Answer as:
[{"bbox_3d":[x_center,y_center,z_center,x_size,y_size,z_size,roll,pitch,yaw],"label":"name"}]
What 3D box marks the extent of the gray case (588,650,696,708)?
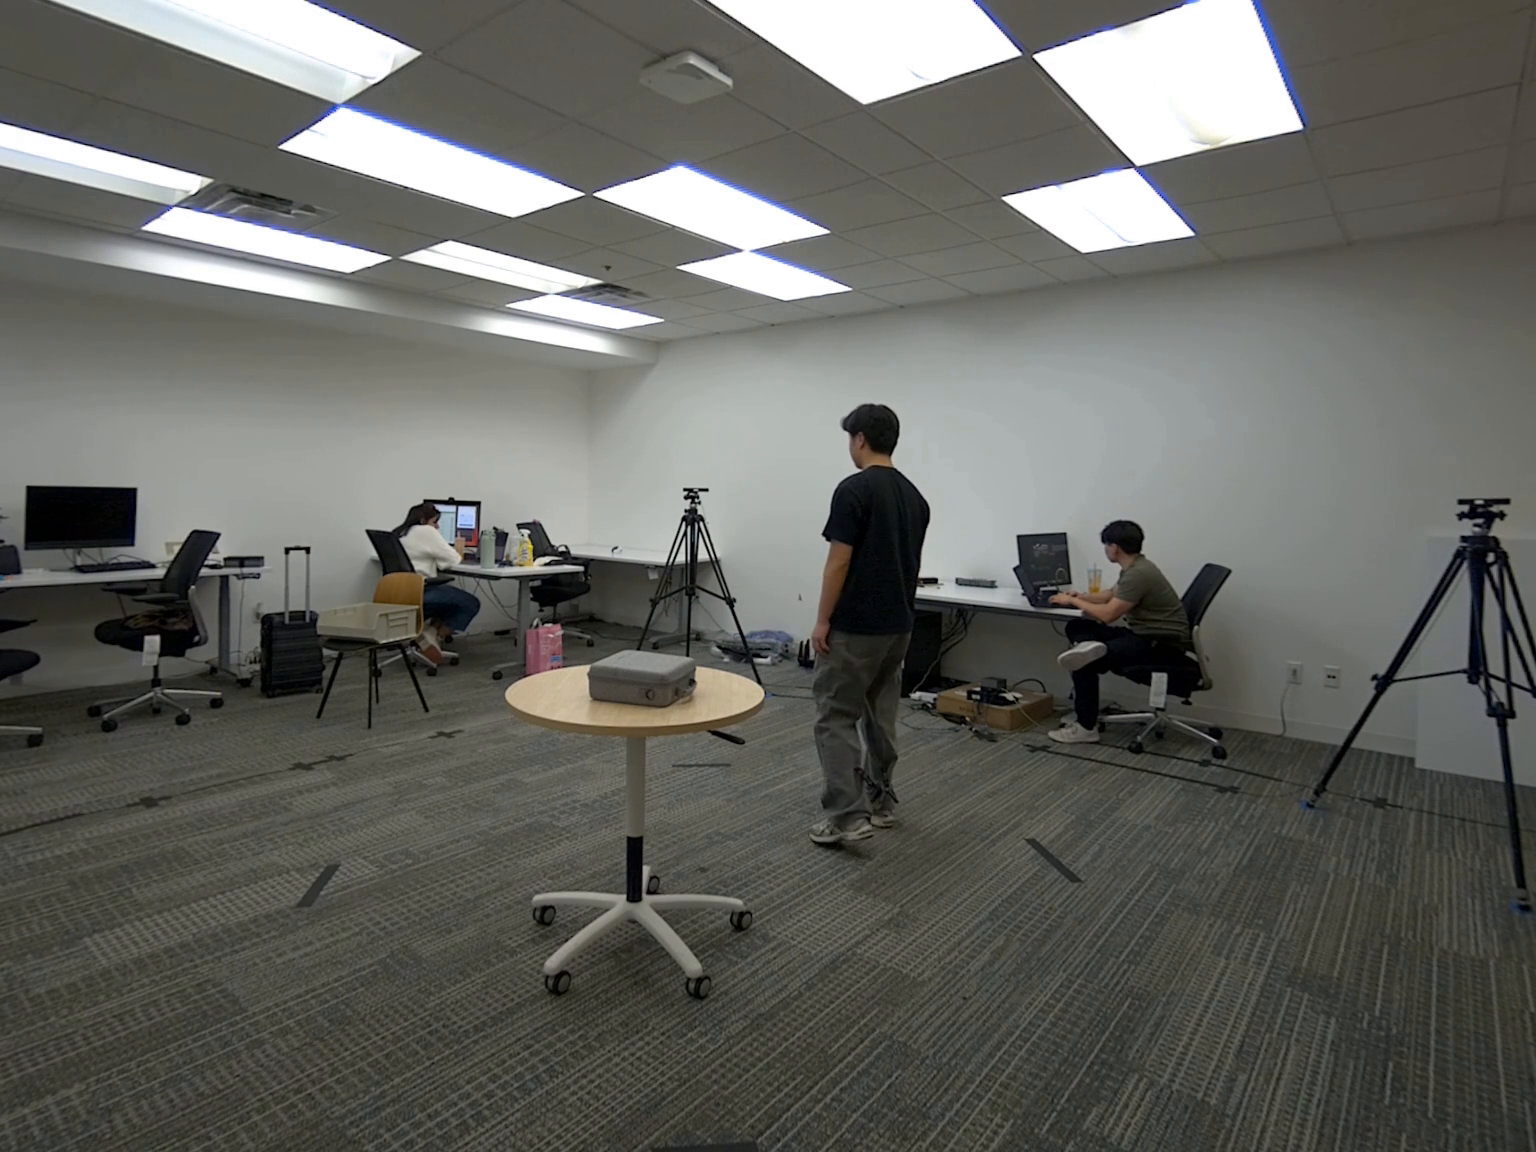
[{"bbox_3d":[-0.361,0.297,2.487,0.293,0.102,0.259,4,7,17],"label":"gray case"}]
